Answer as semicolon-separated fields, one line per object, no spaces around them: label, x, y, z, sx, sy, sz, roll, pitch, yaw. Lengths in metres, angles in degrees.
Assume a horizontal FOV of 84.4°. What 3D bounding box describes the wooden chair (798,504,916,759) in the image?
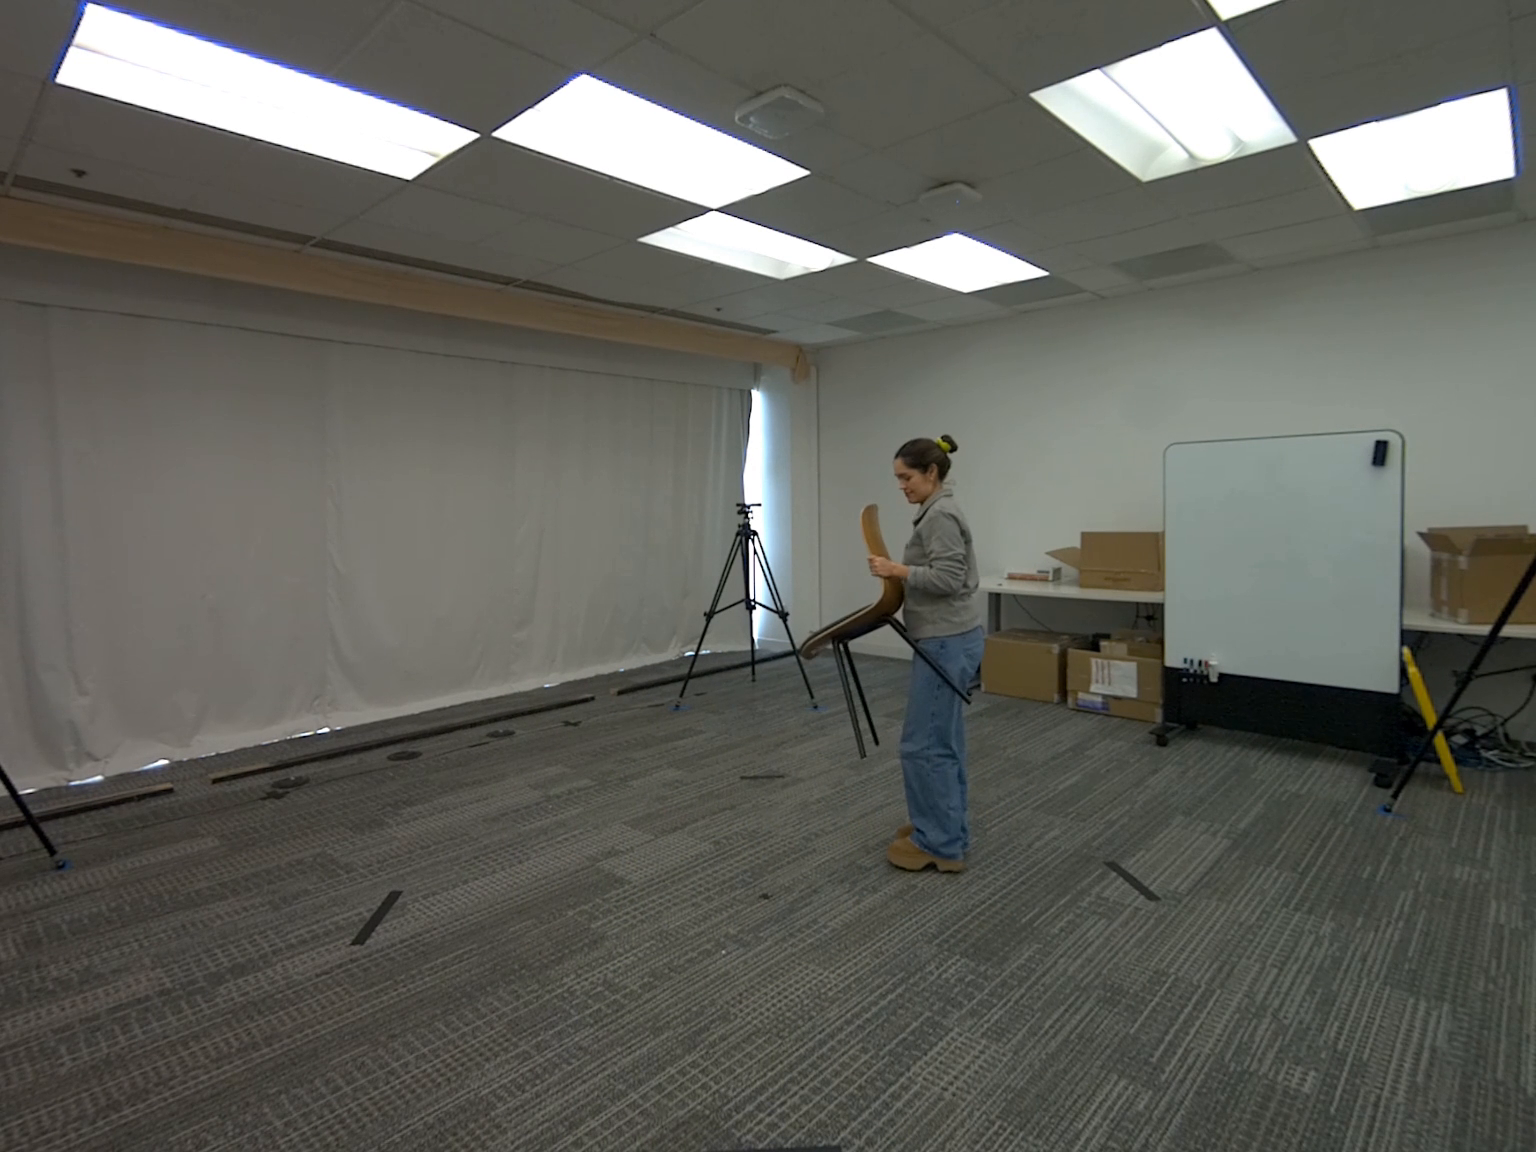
wooden chair;0.390;0.227;3.367;0.528;0.887;0.468;-26;-11;12
